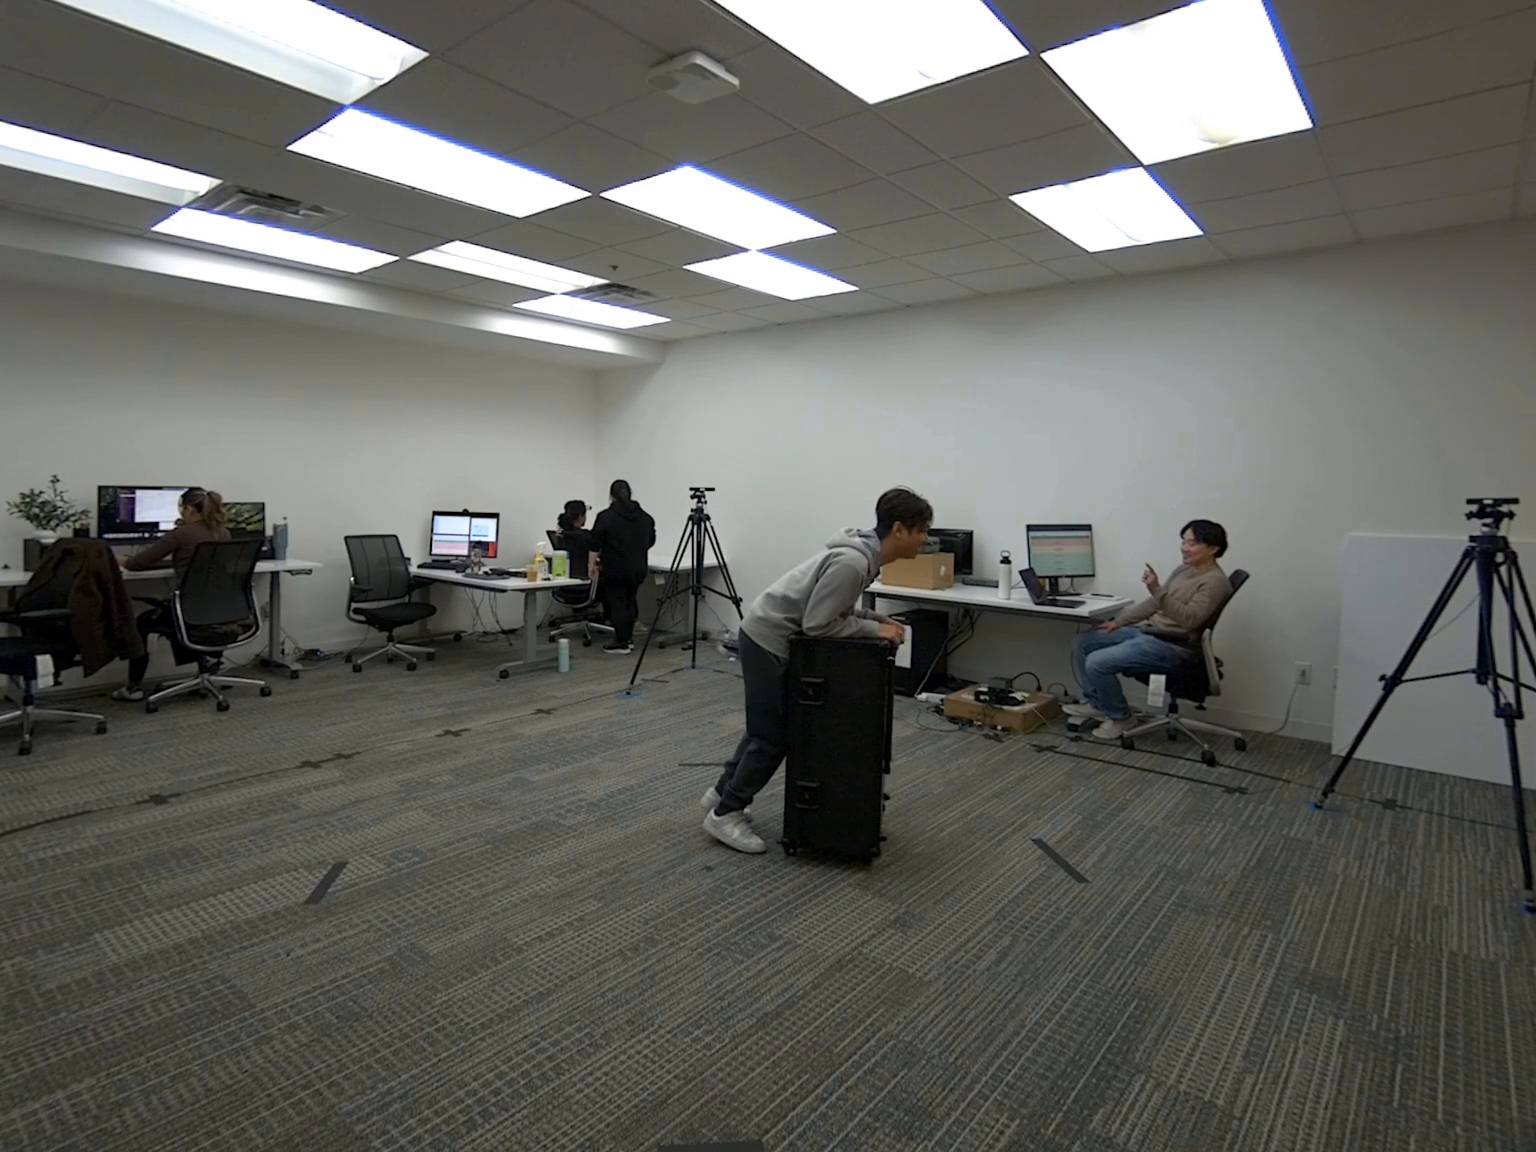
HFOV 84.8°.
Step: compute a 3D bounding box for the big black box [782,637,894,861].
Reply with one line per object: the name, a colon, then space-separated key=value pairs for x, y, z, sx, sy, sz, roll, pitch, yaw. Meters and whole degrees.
big black box: x=0.288 y=0.634 z=3.327 sx=0.402 sy=0.858 sz=0.516 roll=3 pitch=4 yaw=11
